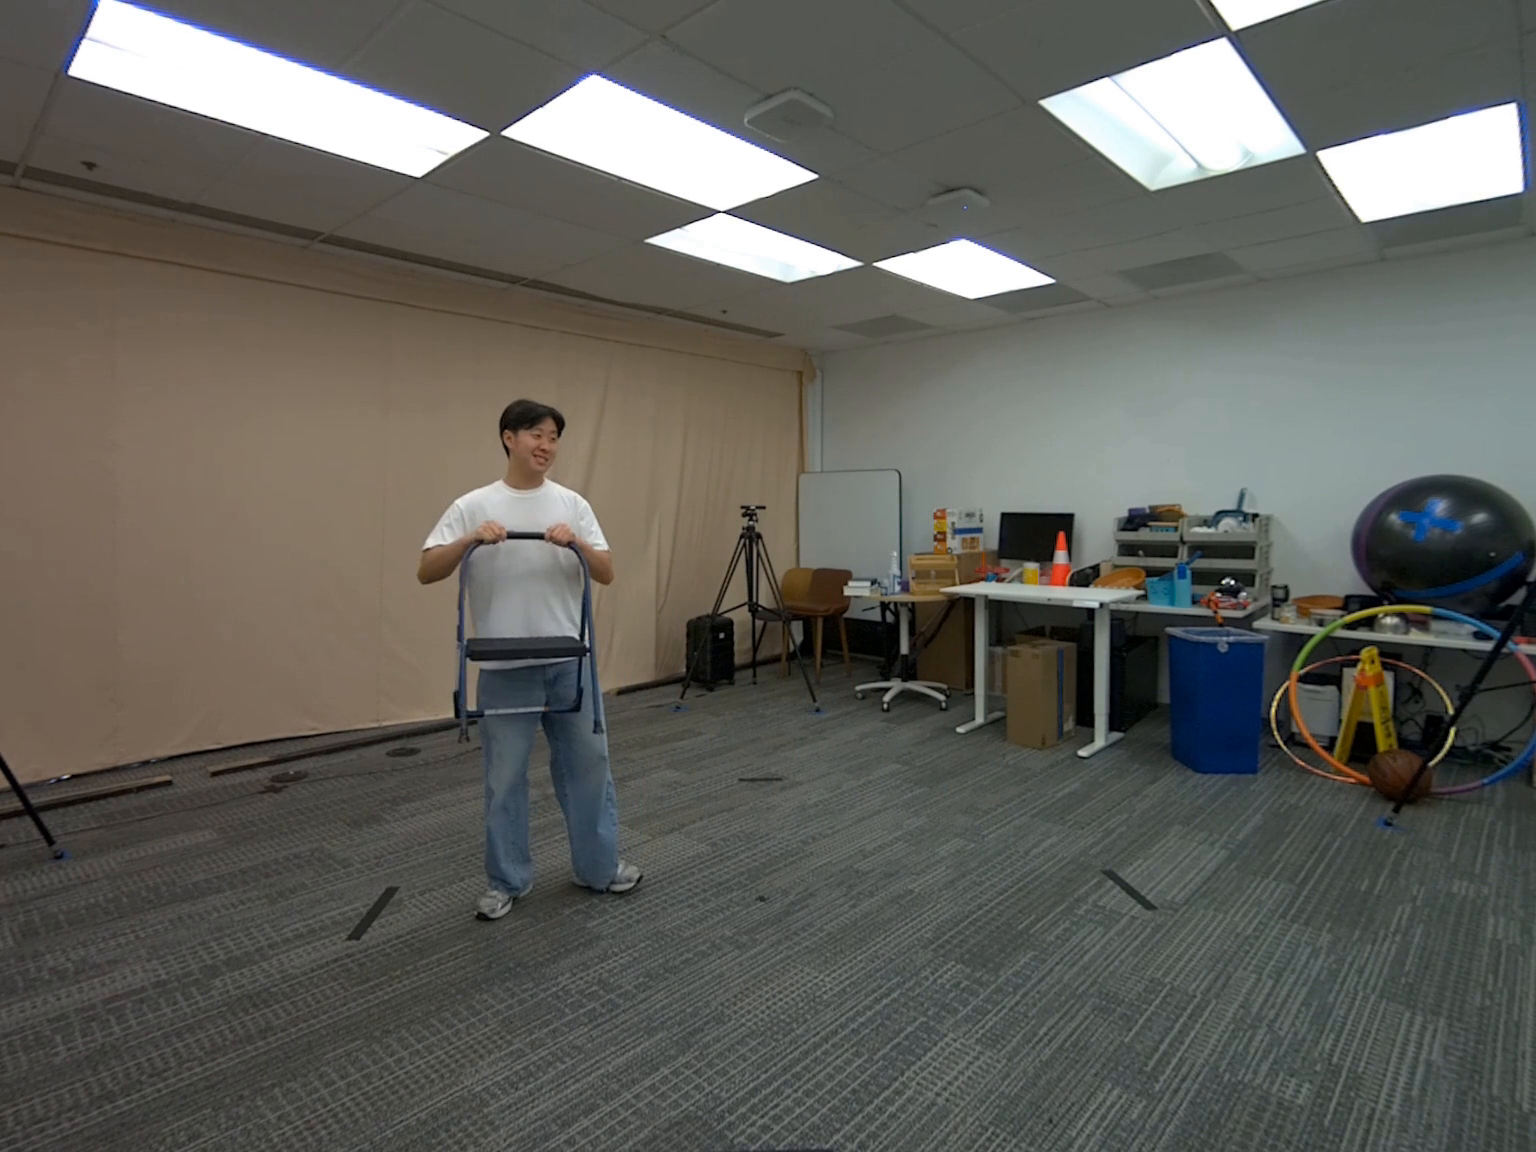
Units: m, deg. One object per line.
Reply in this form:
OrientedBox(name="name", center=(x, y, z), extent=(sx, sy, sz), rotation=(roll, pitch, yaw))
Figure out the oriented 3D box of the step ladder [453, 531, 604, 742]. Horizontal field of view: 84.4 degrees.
OrientedBox(name="step ladder", center=(-0.747, 0.170, 2.659), extent=(0.421, 0.606, 0.357), rotation=(0, 1, -23))
